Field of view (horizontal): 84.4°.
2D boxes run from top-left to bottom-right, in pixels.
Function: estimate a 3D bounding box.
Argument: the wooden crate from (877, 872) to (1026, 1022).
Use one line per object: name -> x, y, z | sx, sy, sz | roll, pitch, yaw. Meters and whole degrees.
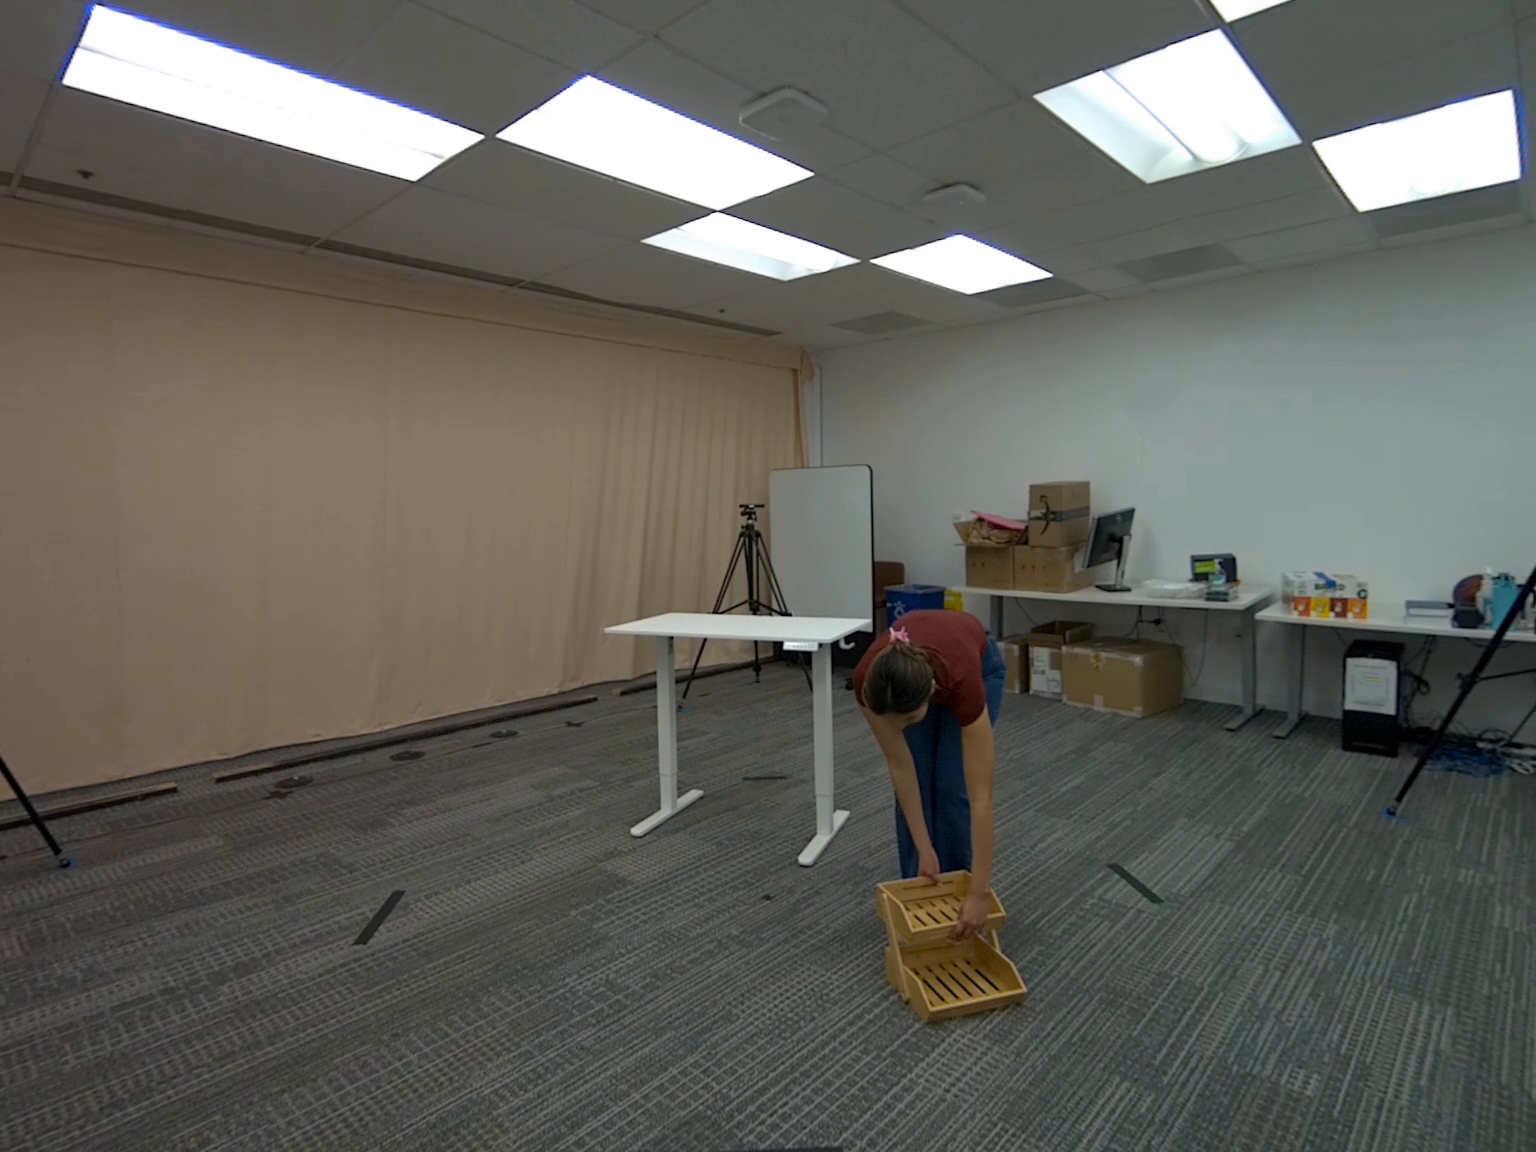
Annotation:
wooden crate -> 0.521, 1.039, 2.408 | 0.319, 0.273, 0.308 | -2, 3, -18
